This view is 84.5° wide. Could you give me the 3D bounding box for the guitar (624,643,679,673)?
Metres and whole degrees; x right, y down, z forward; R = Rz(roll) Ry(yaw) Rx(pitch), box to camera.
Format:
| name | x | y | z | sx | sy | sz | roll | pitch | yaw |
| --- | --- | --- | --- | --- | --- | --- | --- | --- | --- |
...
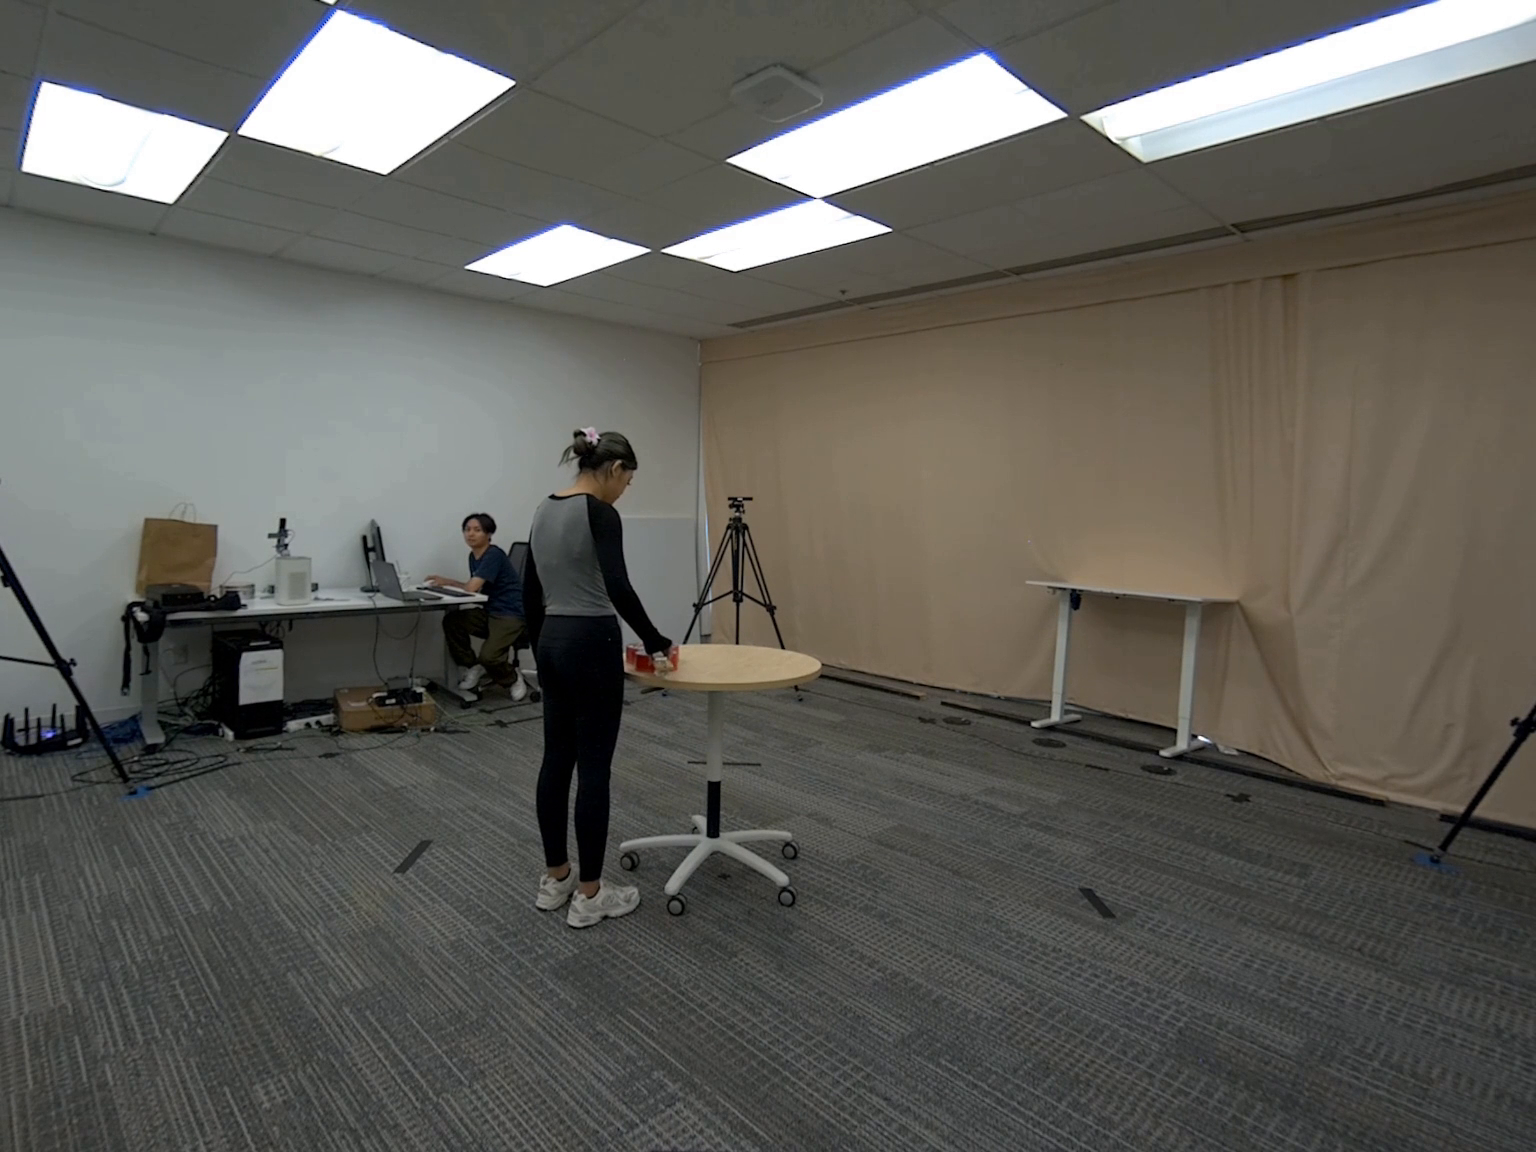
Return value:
| name | x | y | z | sx | sy | sz | roll | pitch | yaw |
| --- | --- | --- | --- | --- | --- | --- | --- | --- | --- |
| guitar | -0.414 | 0.294 | 2.879 | 0.192 | 0.070 | 0.500 | 0 | 5 | -4 |
